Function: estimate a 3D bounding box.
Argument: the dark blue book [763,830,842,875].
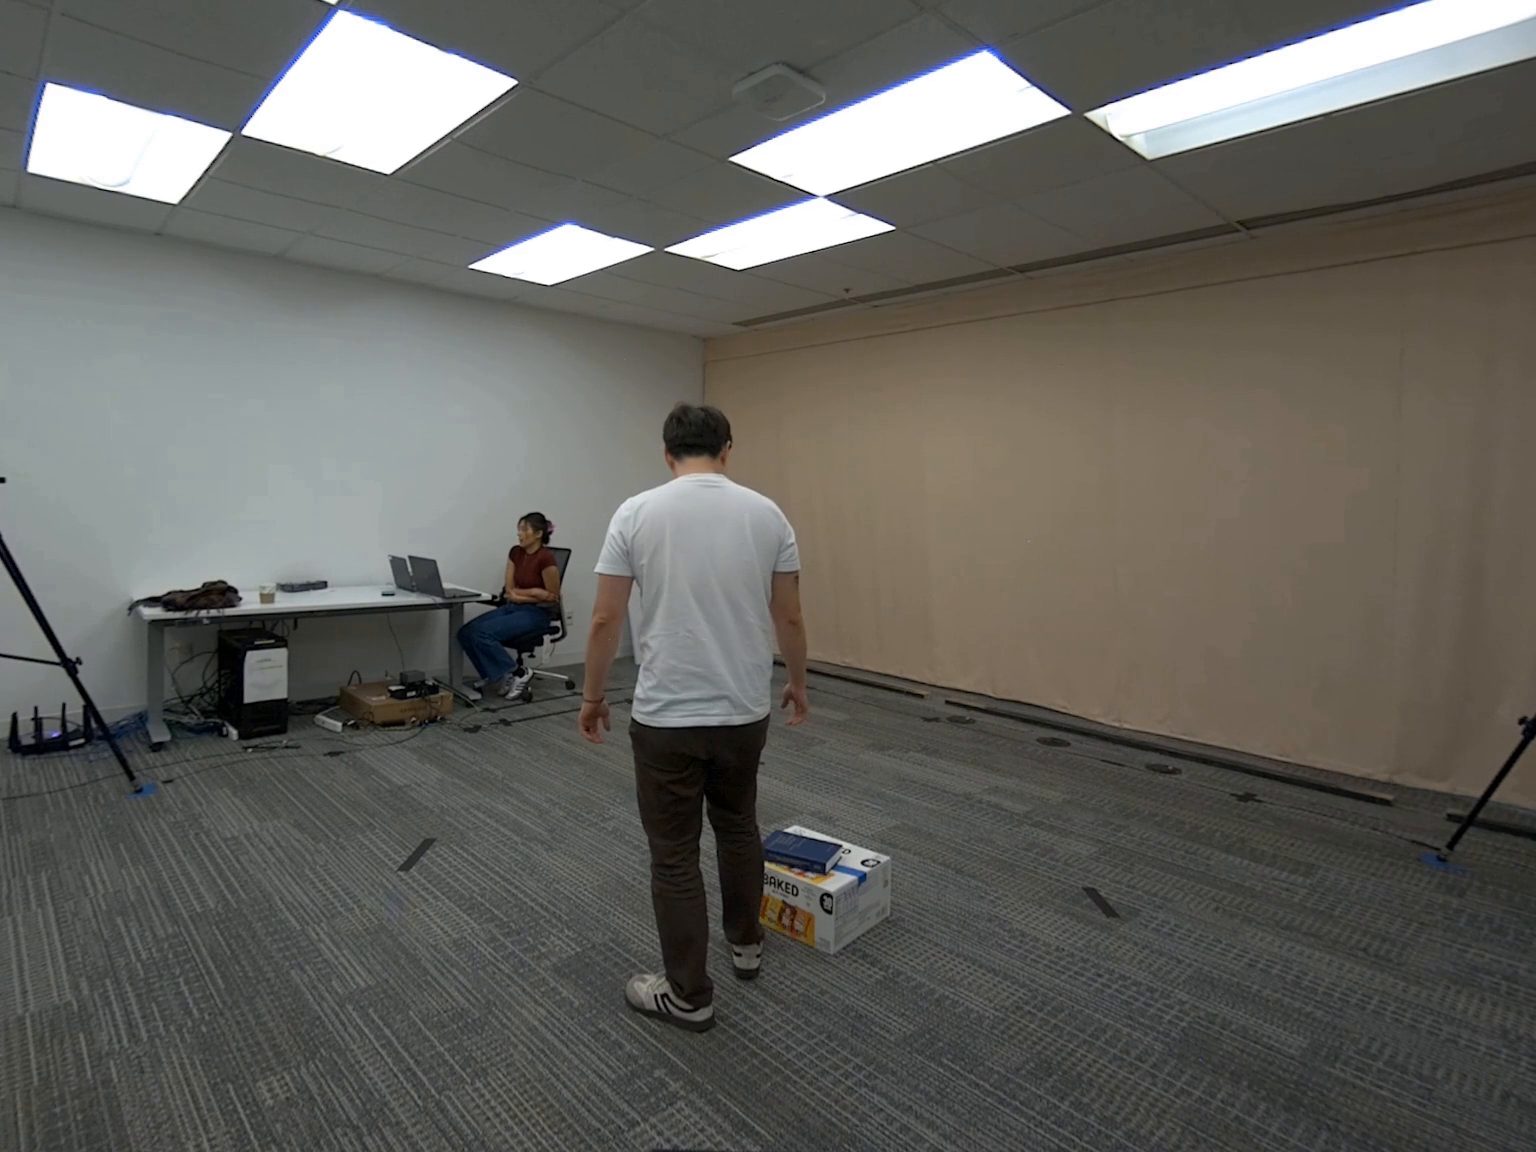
[{"bbox_3d":[0.106,0.922,2.790,0.250,0.045,0.160,4,5,25],"label":"dark blue book"}]
